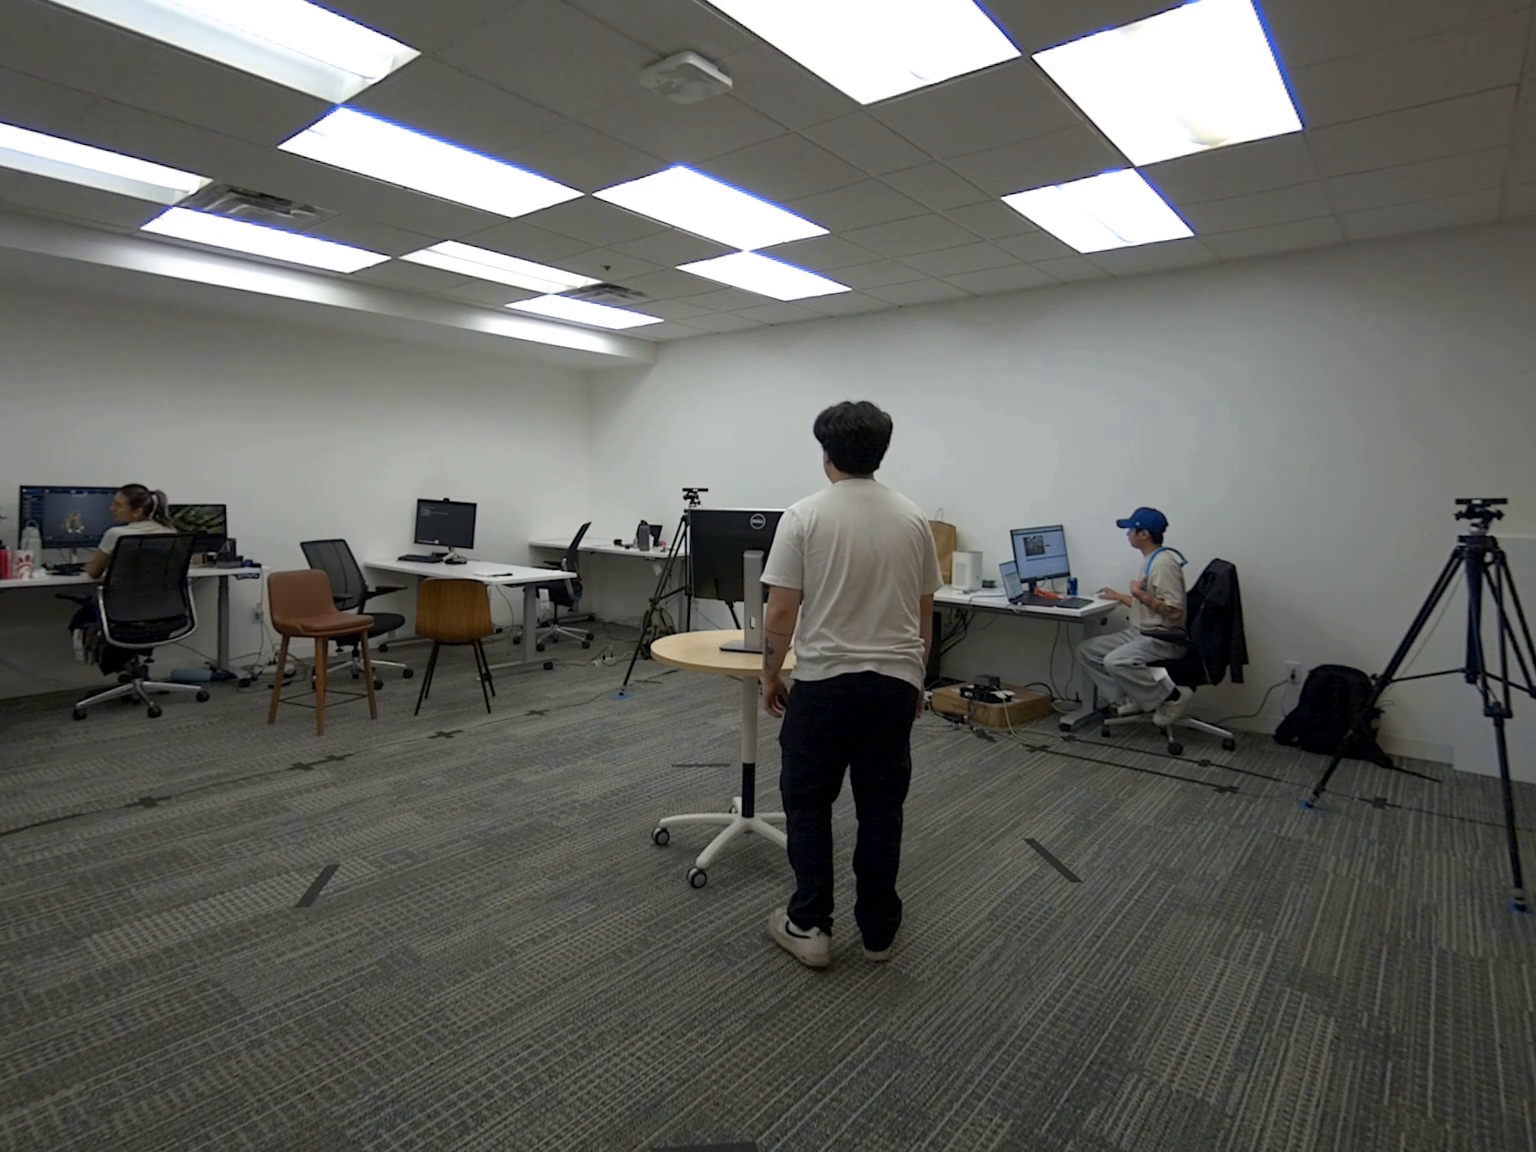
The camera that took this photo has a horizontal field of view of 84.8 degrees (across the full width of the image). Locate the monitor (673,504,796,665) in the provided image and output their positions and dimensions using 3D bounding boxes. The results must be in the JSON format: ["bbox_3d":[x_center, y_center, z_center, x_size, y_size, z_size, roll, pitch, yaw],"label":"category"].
[{"bbox_3d":[-0.054,0.019,3.164,0.576,0.550,0.207,2,7,18],"label":"monitor"}]
